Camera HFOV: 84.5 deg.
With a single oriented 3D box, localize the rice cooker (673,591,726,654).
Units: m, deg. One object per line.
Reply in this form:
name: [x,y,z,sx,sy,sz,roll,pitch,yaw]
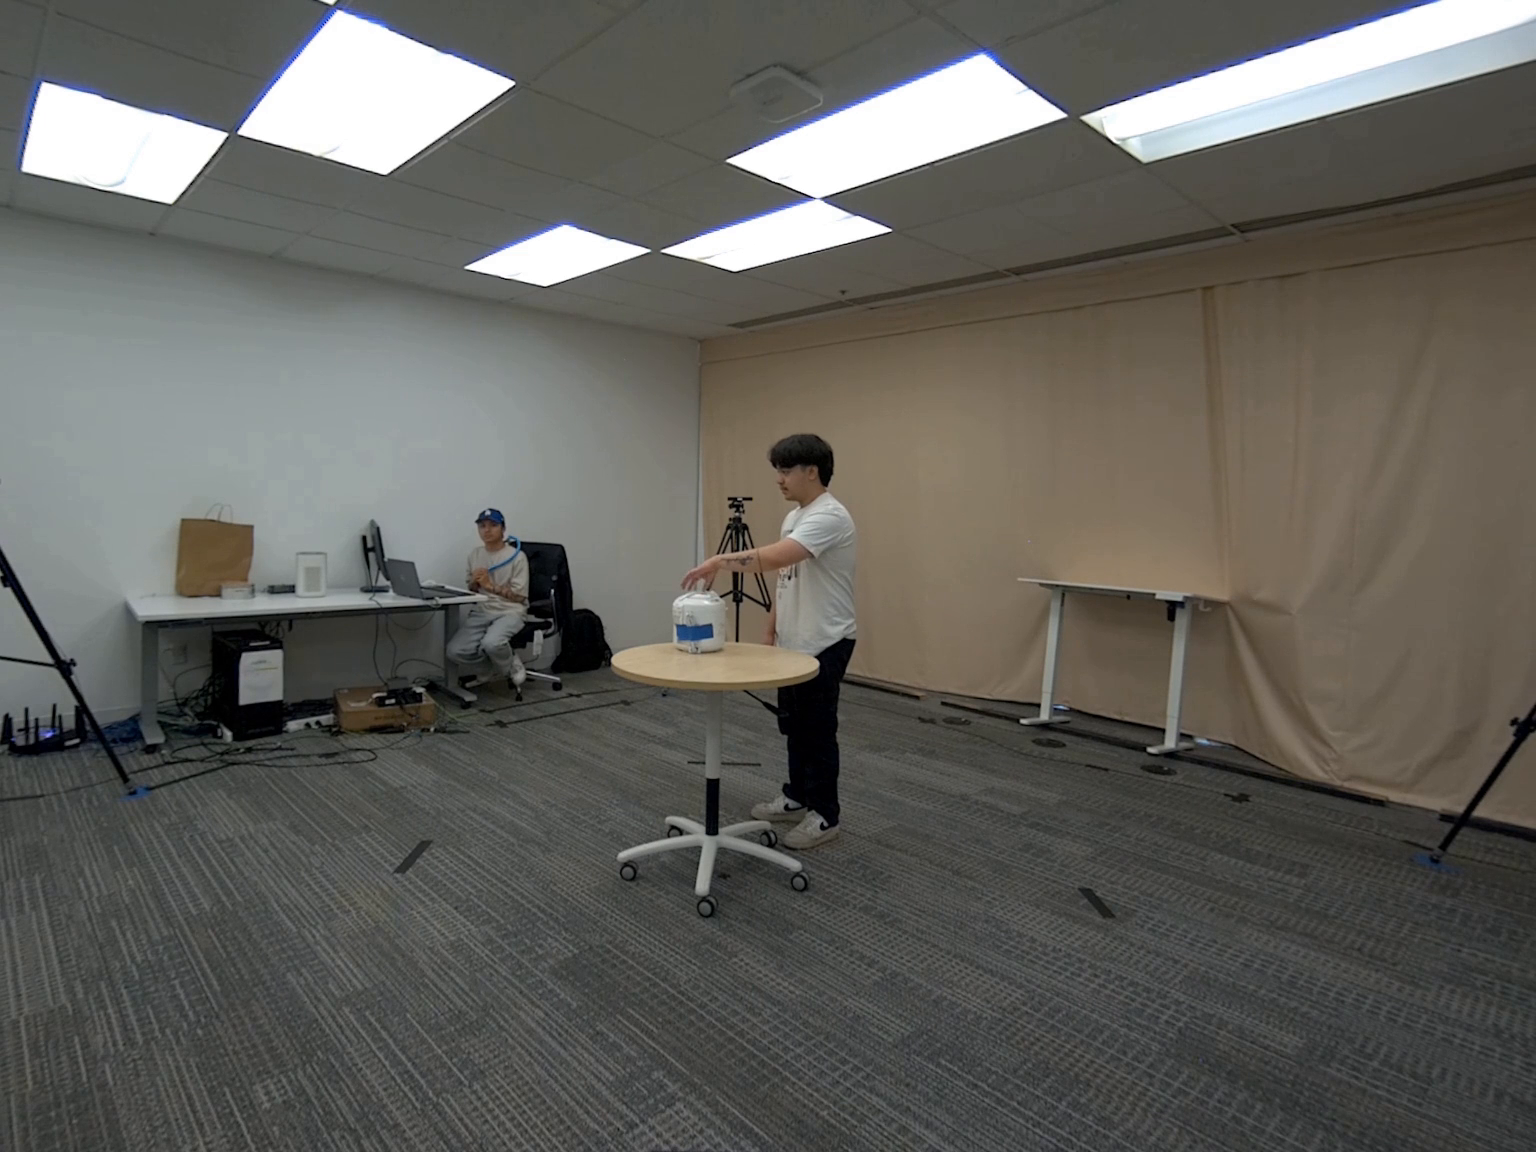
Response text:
rice cooker: [-0.278,0.174,3.305,0.216,0.232,0.223,-1,6,-35]
